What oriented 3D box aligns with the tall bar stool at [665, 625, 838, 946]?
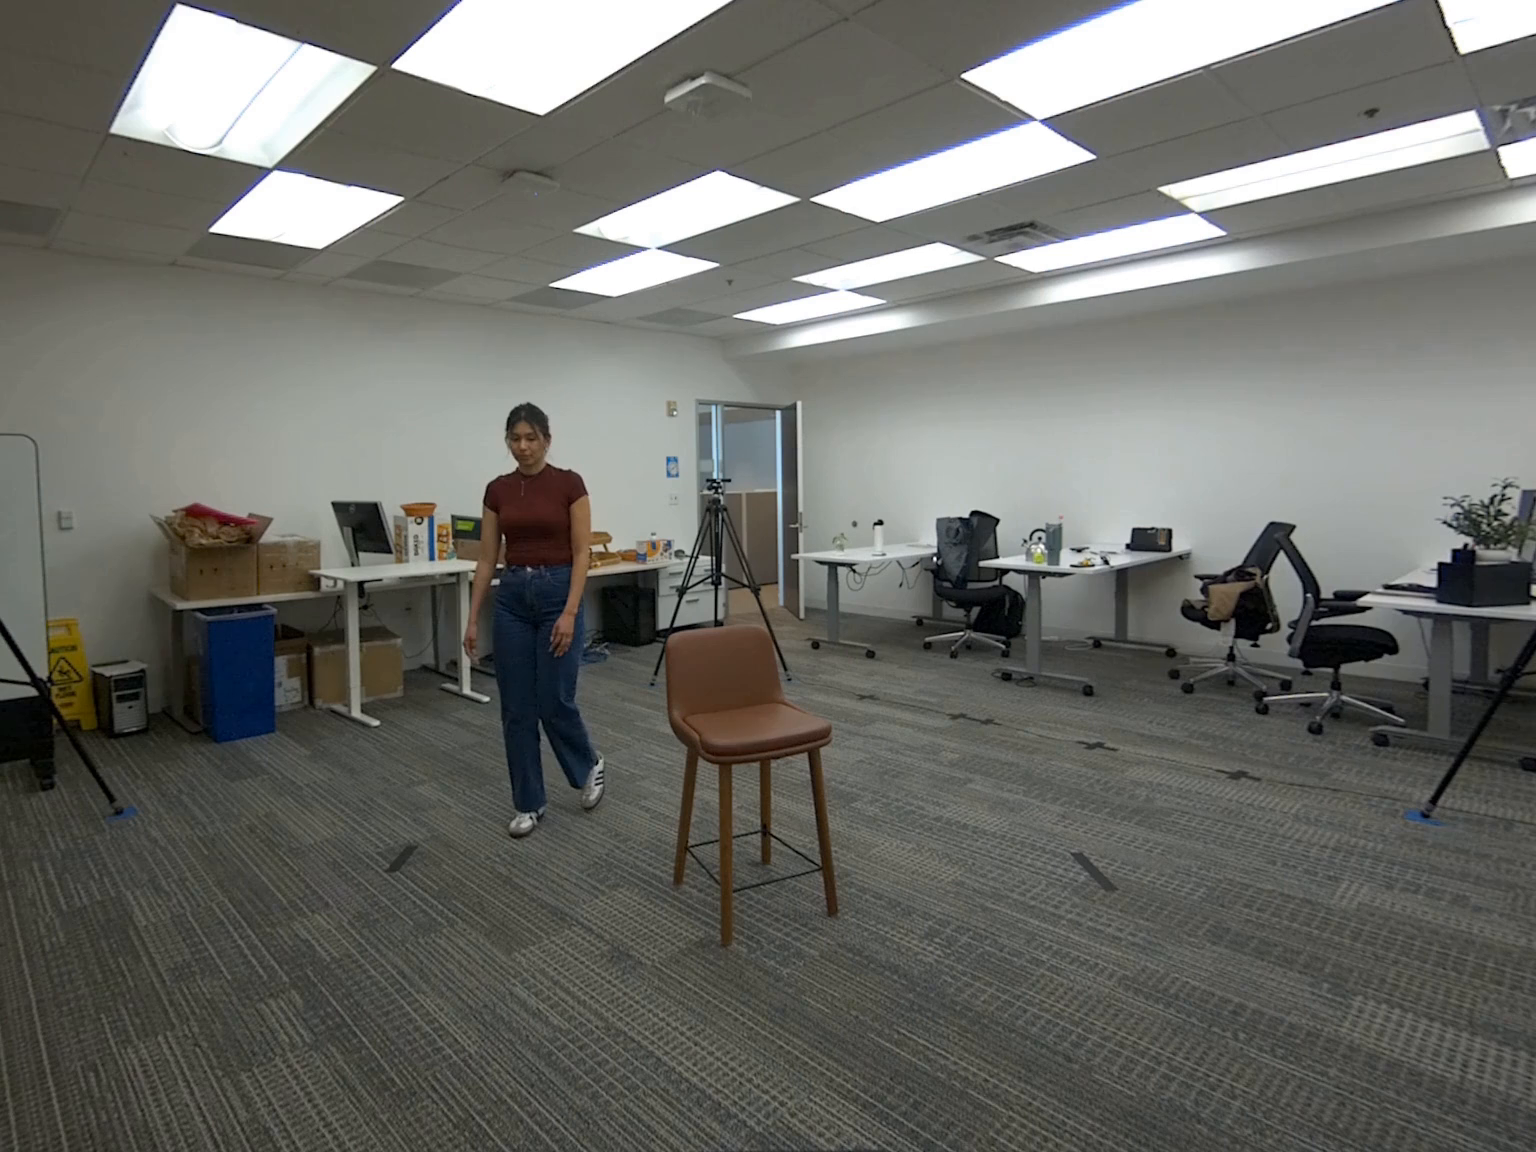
[{"bbox_3d":[-0.067,0.641,2.821,0.446,0.888,0.479,-2,3,-28],"label":"tall bar stool"}]
